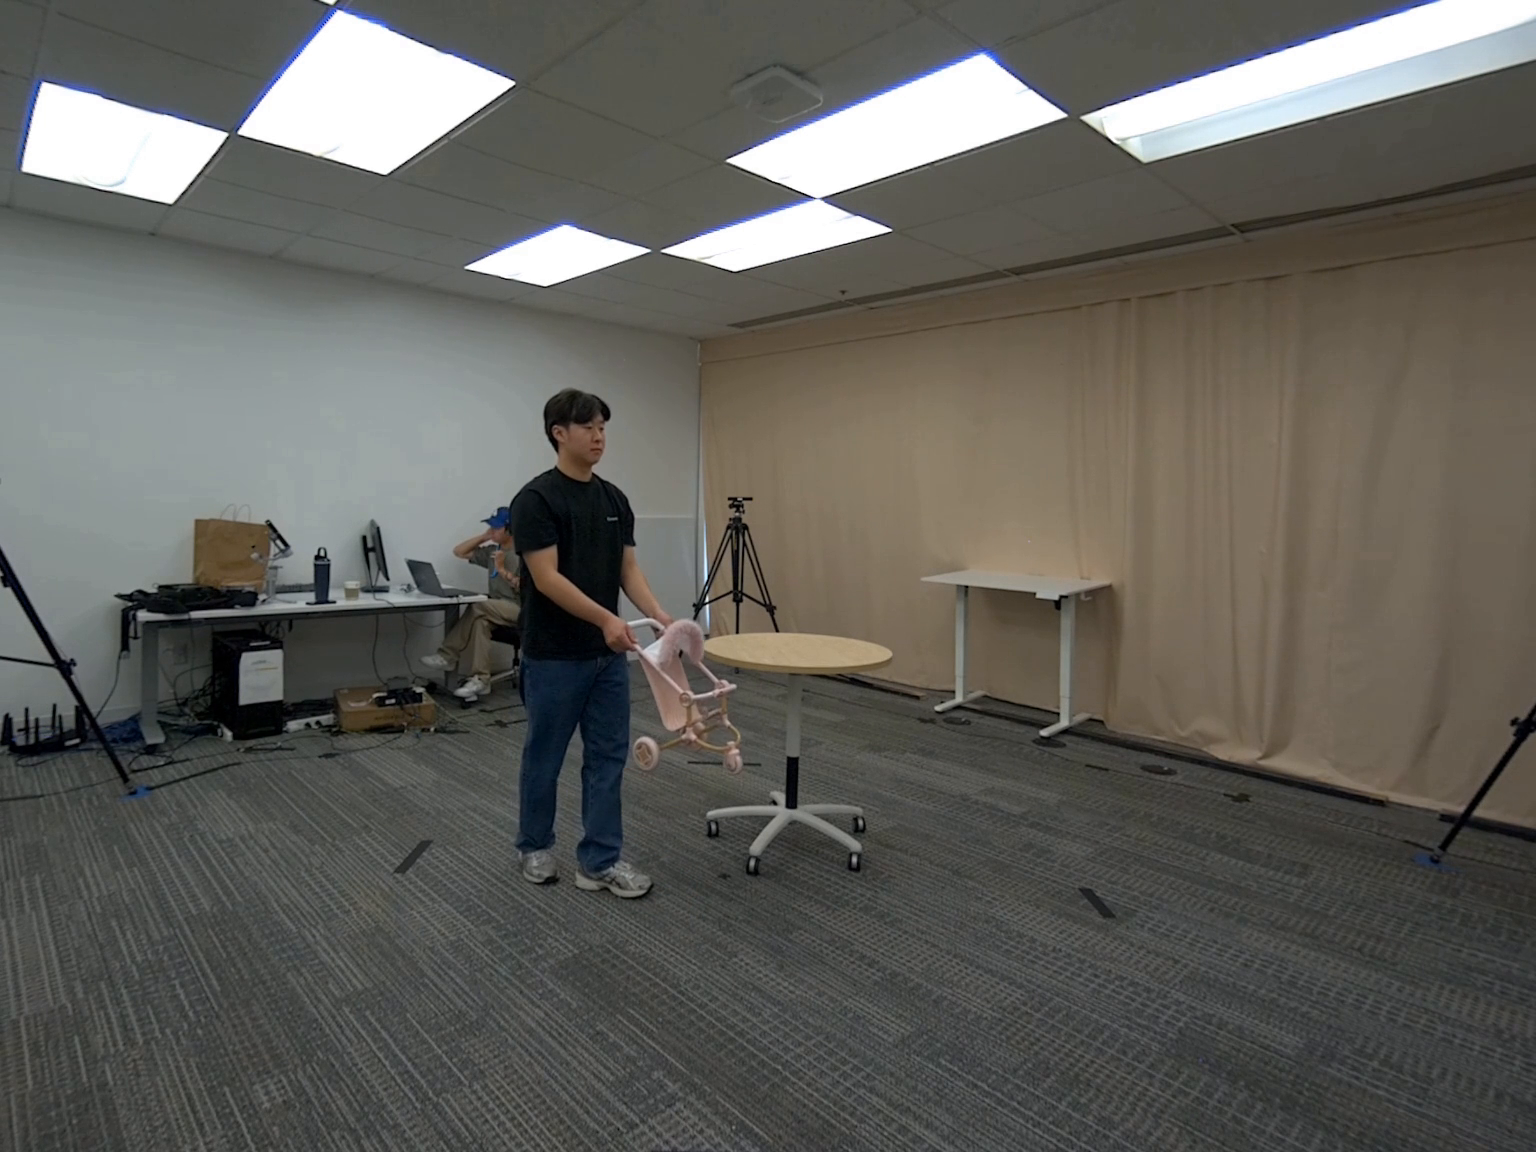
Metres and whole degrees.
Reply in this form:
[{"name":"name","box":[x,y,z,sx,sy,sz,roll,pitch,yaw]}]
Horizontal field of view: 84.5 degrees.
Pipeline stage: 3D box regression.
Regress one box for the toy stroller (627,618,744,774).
[{"name":"toy stroller","box":[-0.266,0.383,2.704,0.347,0.538,0.275,-16,-7,38]}]
